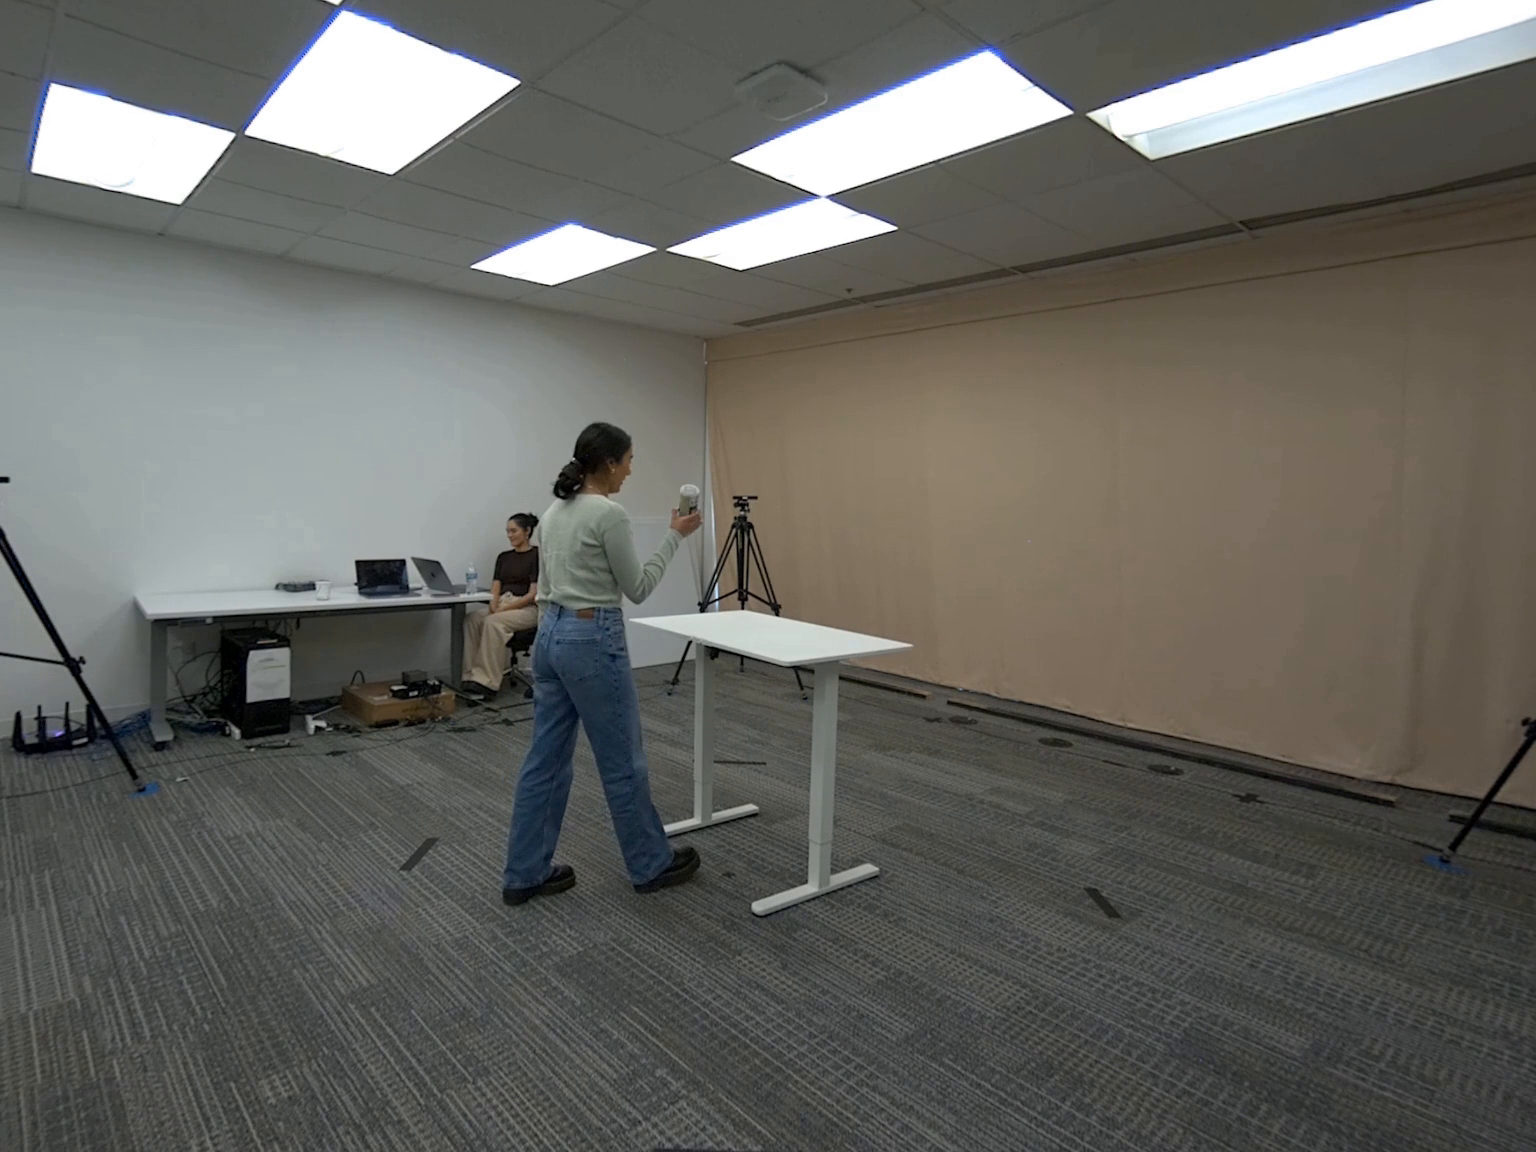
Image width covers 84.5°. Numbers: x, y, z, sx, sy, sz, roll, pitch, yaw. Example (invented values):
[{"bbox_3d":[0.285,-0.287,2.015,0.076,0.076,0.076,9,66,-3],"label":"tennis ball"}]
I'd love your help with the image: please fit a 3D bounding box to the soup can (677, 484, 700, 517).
[{"bbox_3d":[-0.300,-0.260,2.953,0.067,0.120,0.068,8,29,-6],"label":"soup can"}]
